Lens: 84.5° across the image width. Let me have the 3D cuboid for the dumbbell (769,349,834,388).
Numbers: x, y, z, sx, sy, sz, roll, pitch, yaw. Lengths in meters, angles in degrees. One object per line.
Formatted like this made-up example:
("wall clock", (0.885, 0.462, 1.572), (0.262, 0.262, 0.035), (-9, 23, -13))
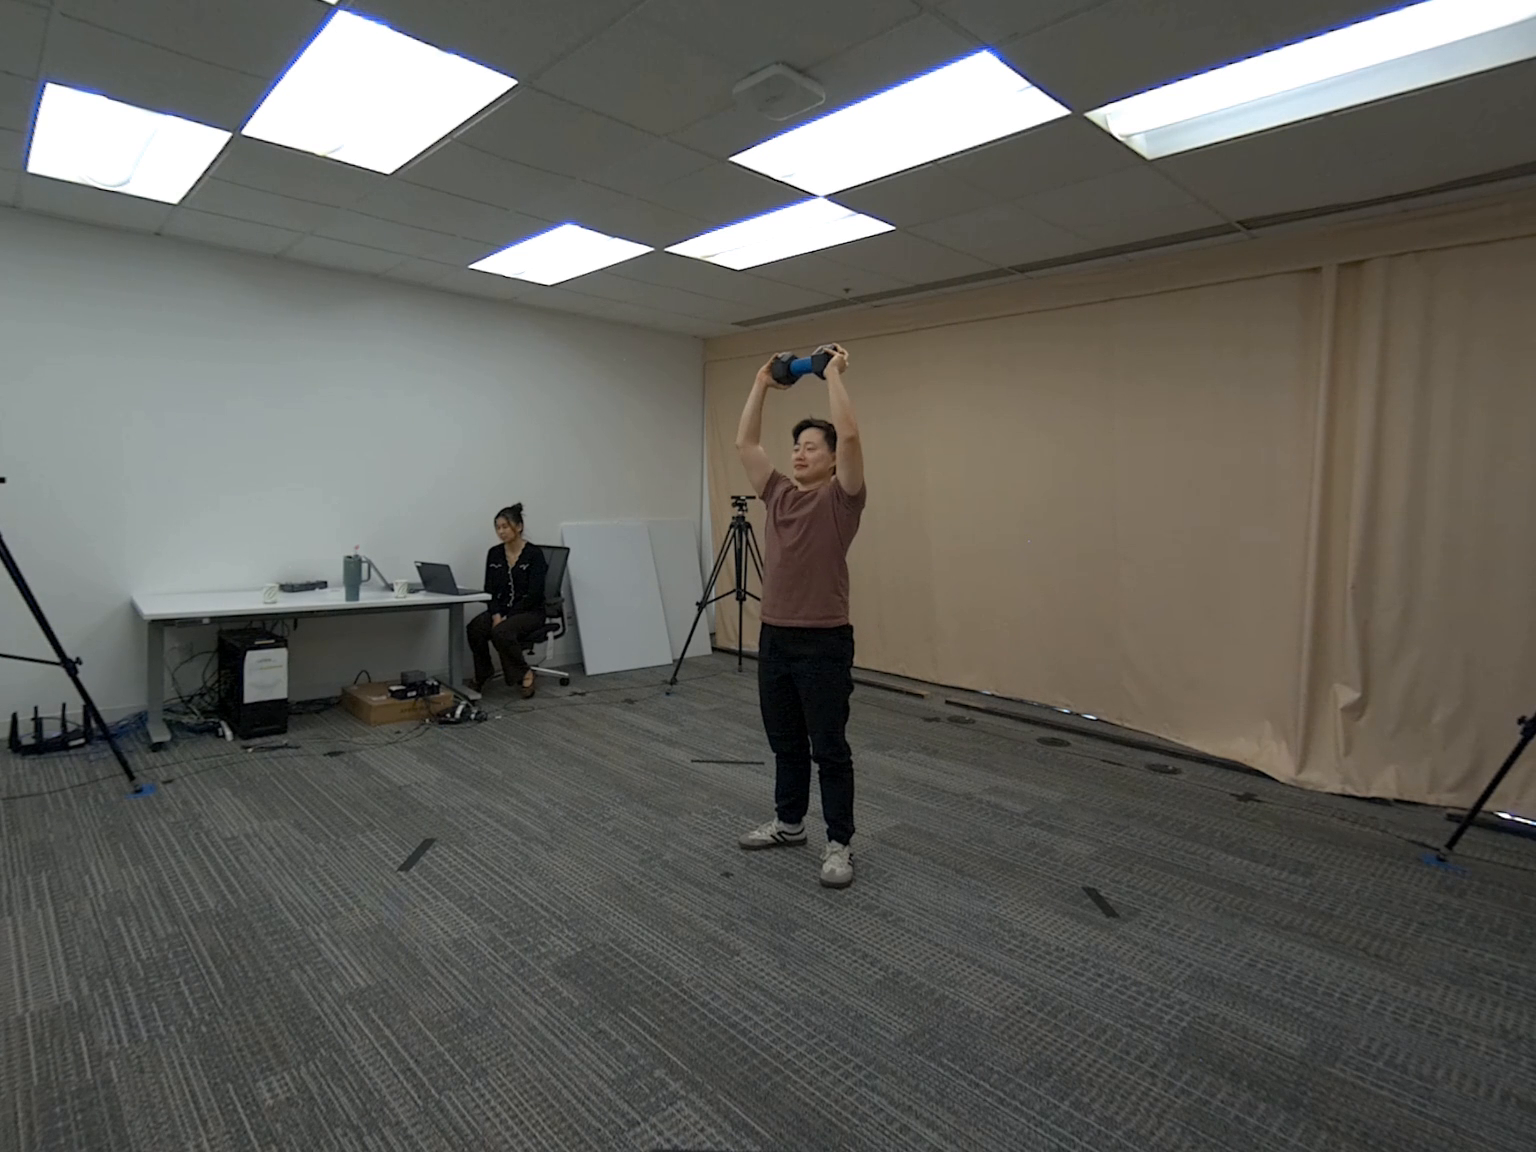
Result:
("dumbbell", (0.137, -0.781, 3.141), (0.301, 0.106, 0.123), (5, 43, 47))
